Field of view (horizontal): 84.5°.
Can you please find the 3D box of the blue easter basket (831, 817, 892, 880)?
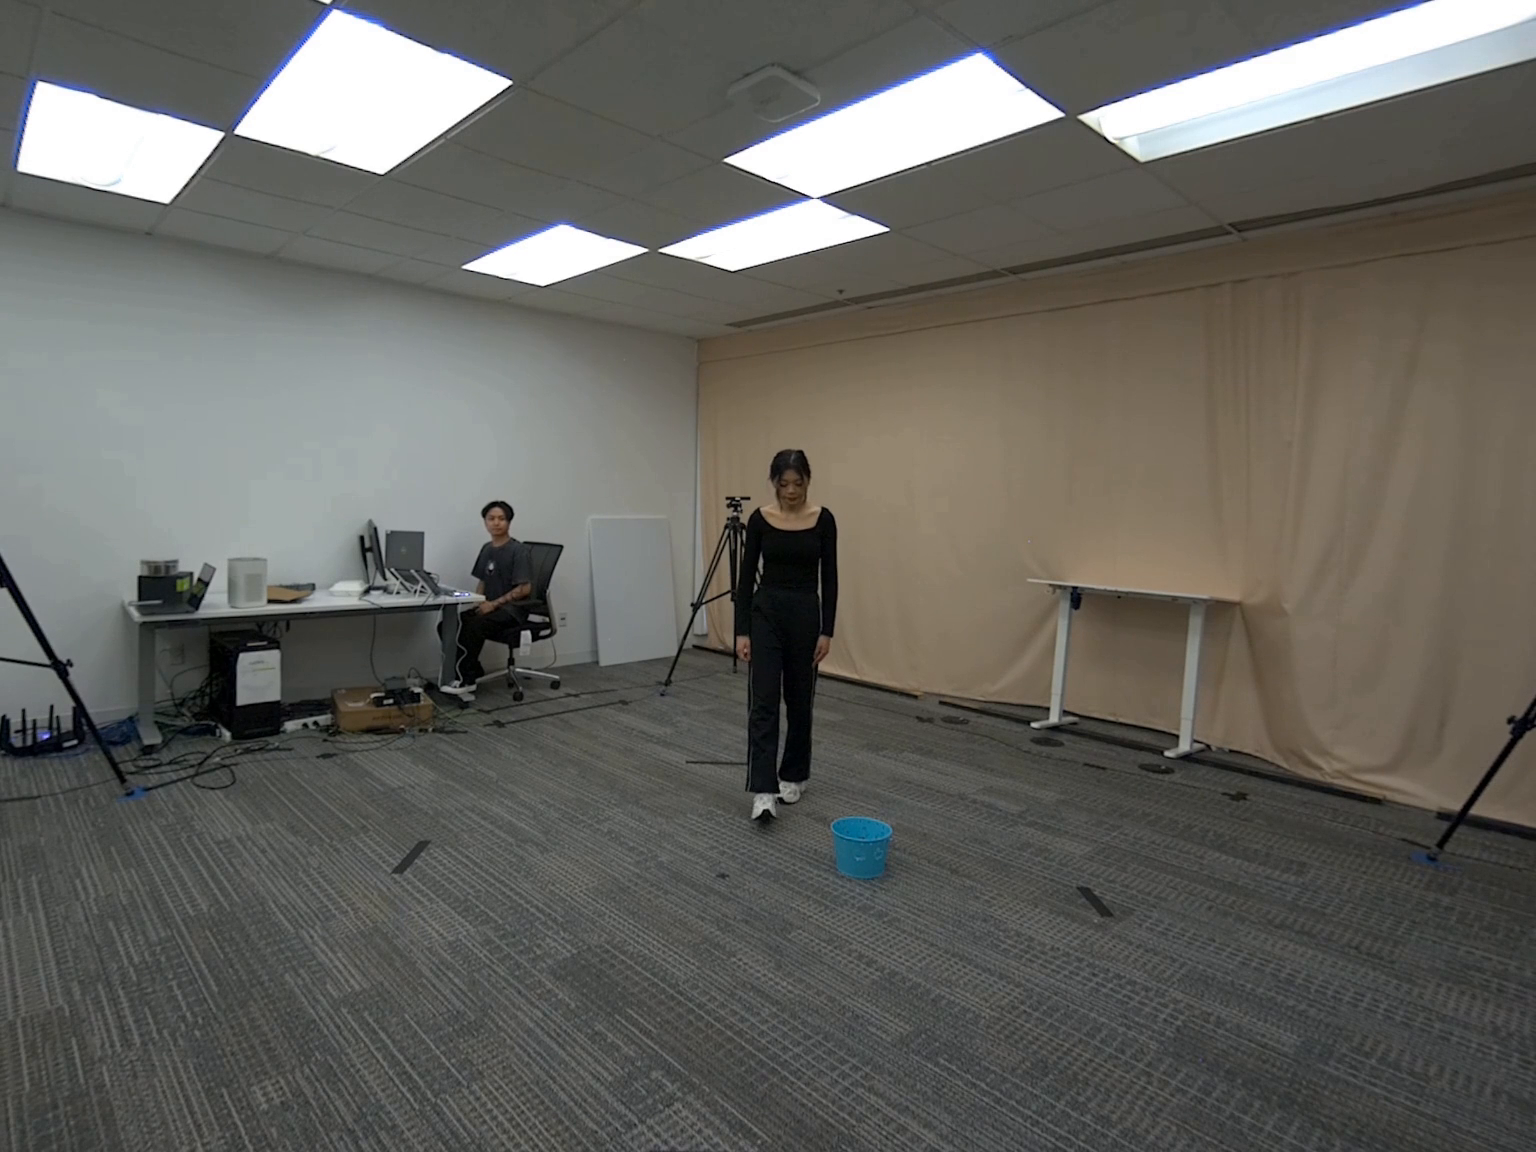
[{"bbox_3d":[0.349,1.032,3.194,0.243,0.155,0.244,1,5,-1],"label":"blue easter basket"}]
